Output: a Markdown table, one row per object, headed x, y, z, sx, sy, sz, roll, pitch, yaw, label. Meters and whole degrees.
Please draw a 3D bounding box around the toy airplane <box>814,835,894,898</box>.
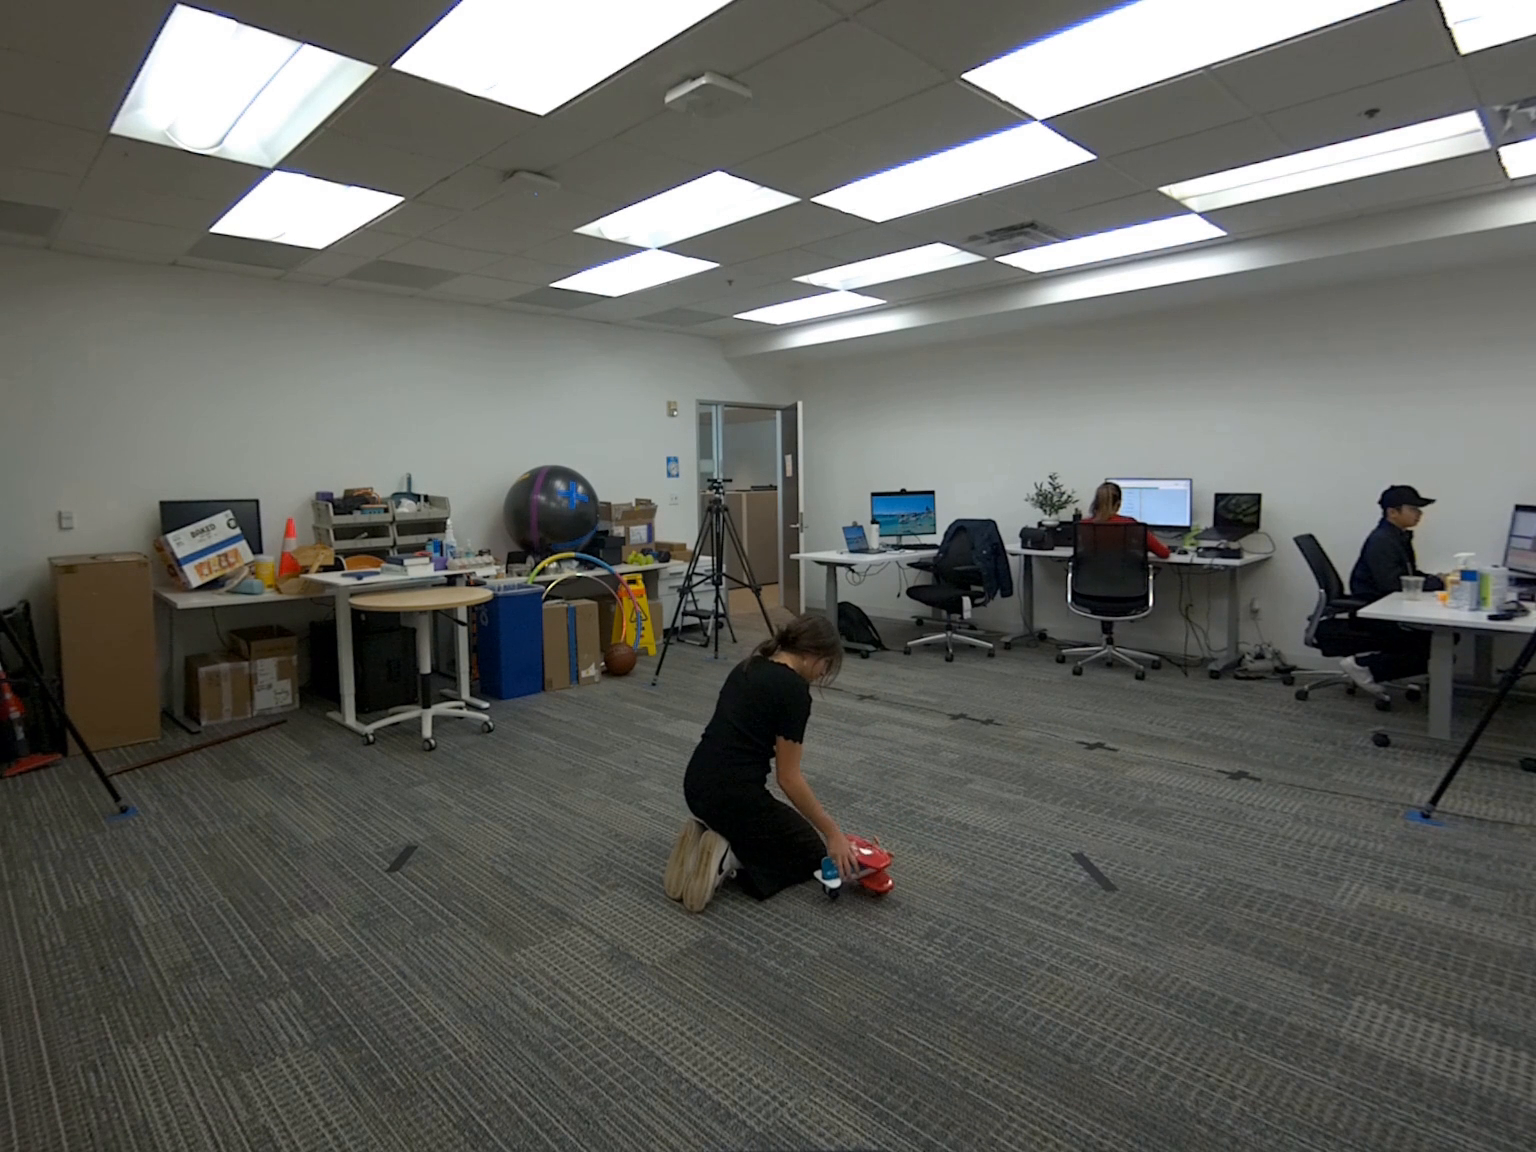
| x | y | z | sx | sy | sz | roll | pitch | yaw | label |
| --- | --- | --- | --- | --- | --- | --- | --- | --- | --- |
| 0.306 | 0.980 | 2.847 | 0.259 | 0.156 | 0.252 | 7 | 3 | 35 | toy airplane |
